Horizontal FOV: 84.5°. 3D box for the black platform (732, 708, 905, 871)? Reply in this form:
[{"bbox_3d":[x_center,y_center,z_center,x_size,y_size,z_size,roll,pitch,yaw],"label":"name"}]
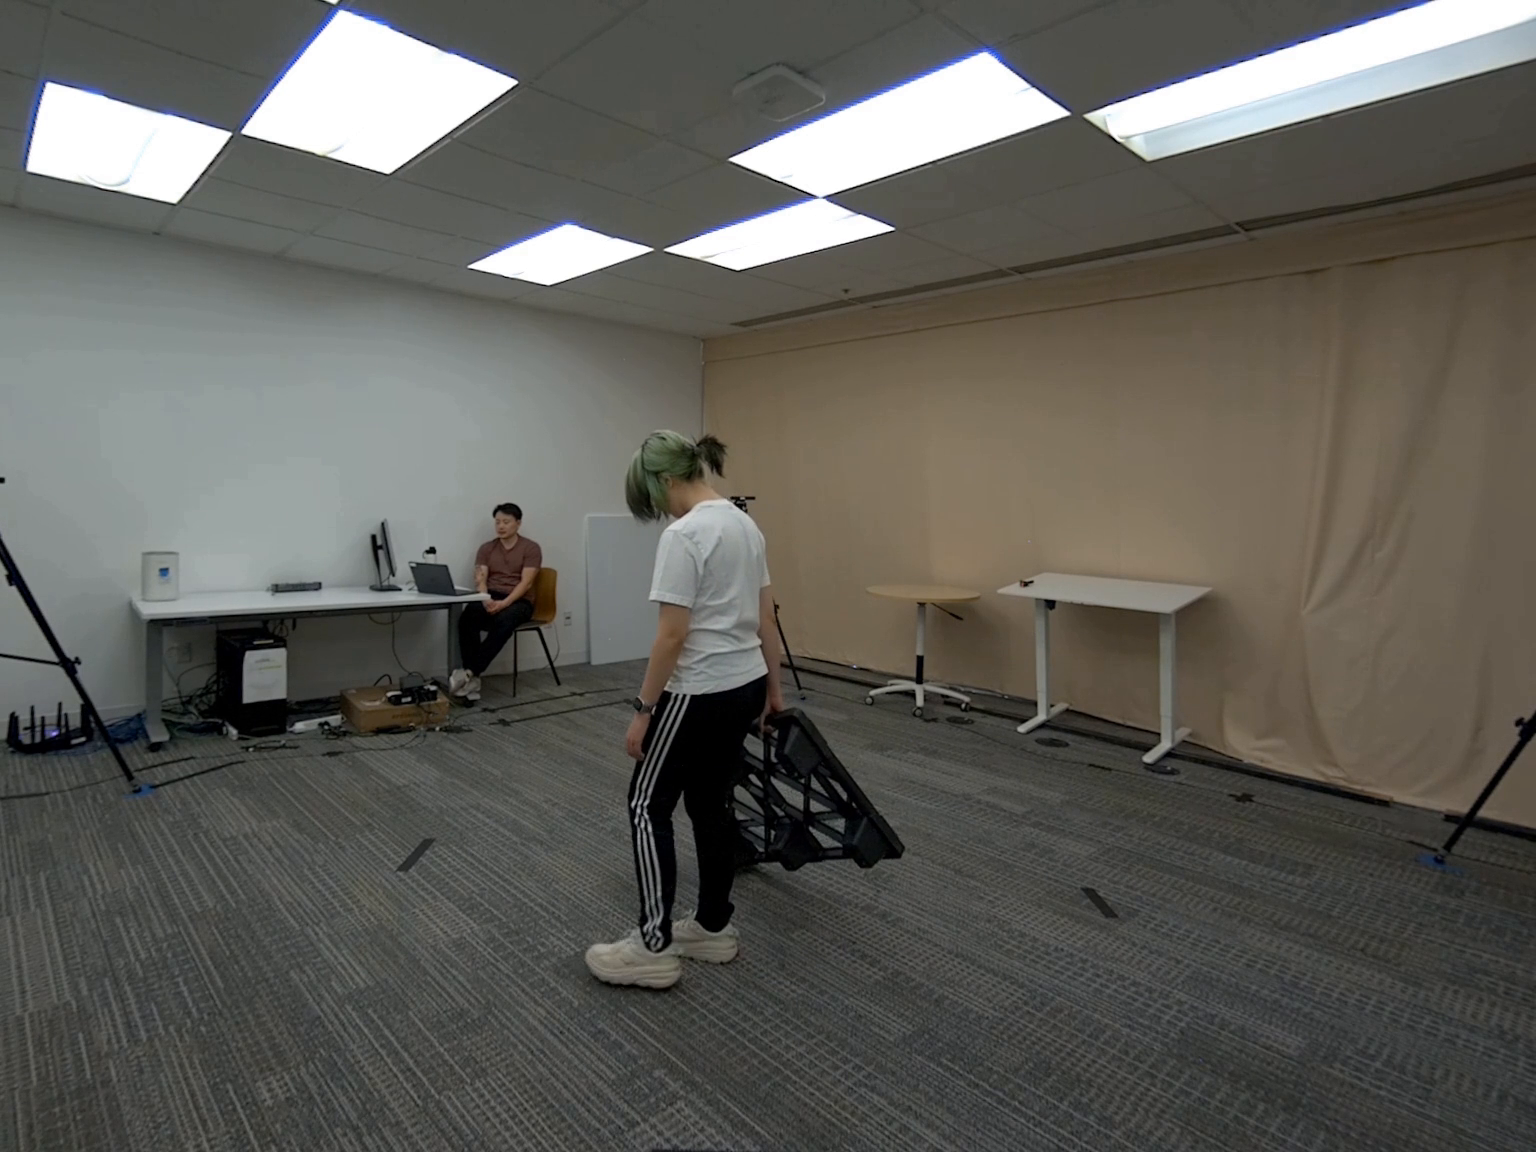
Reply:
[{"bbox_3d":[-0.027,0.777,2.850,0.815,0.598,0.143,-24,16,46],"label":"black platform"}]
